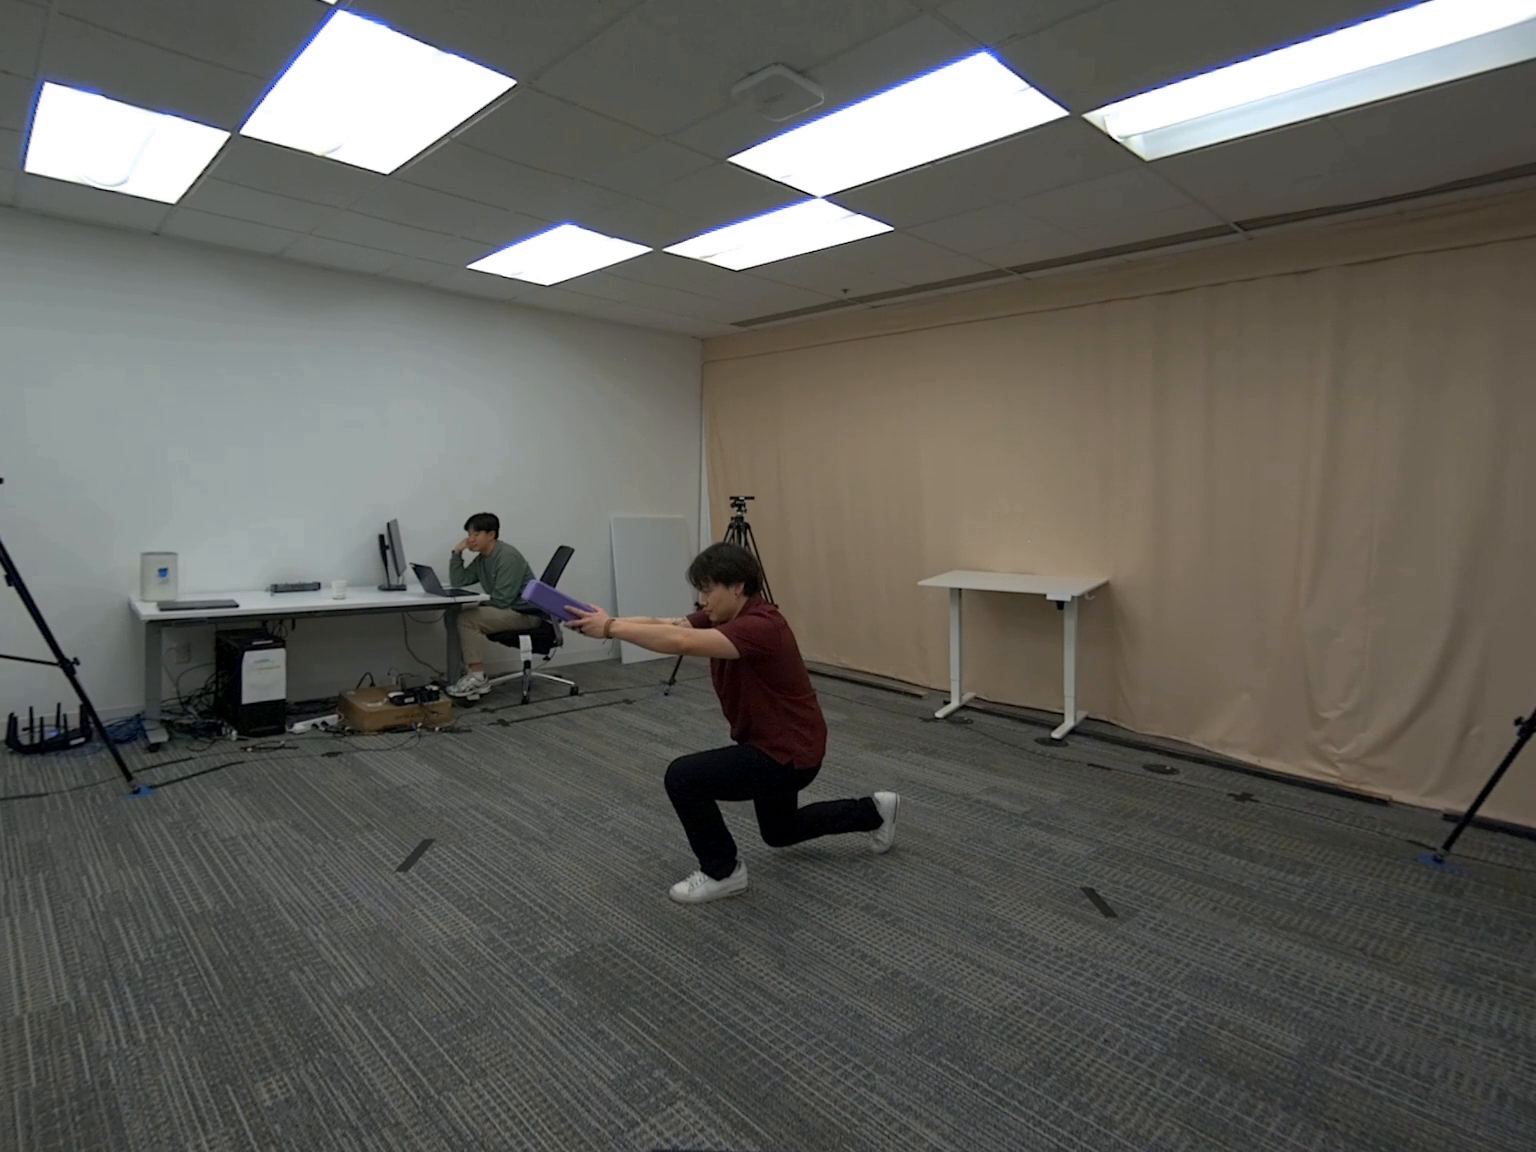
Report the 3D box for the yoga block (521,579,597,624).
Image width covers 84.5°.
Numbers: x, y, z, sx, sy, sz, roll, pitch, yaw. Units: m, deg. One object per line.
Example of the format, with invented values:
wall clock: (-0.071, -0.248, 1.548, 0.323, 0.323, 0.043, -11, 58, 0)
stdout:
yoga block: (-0.688, 0.093, 2.767, 0.225, 0.076, 0.151, 31, -10, -21)
